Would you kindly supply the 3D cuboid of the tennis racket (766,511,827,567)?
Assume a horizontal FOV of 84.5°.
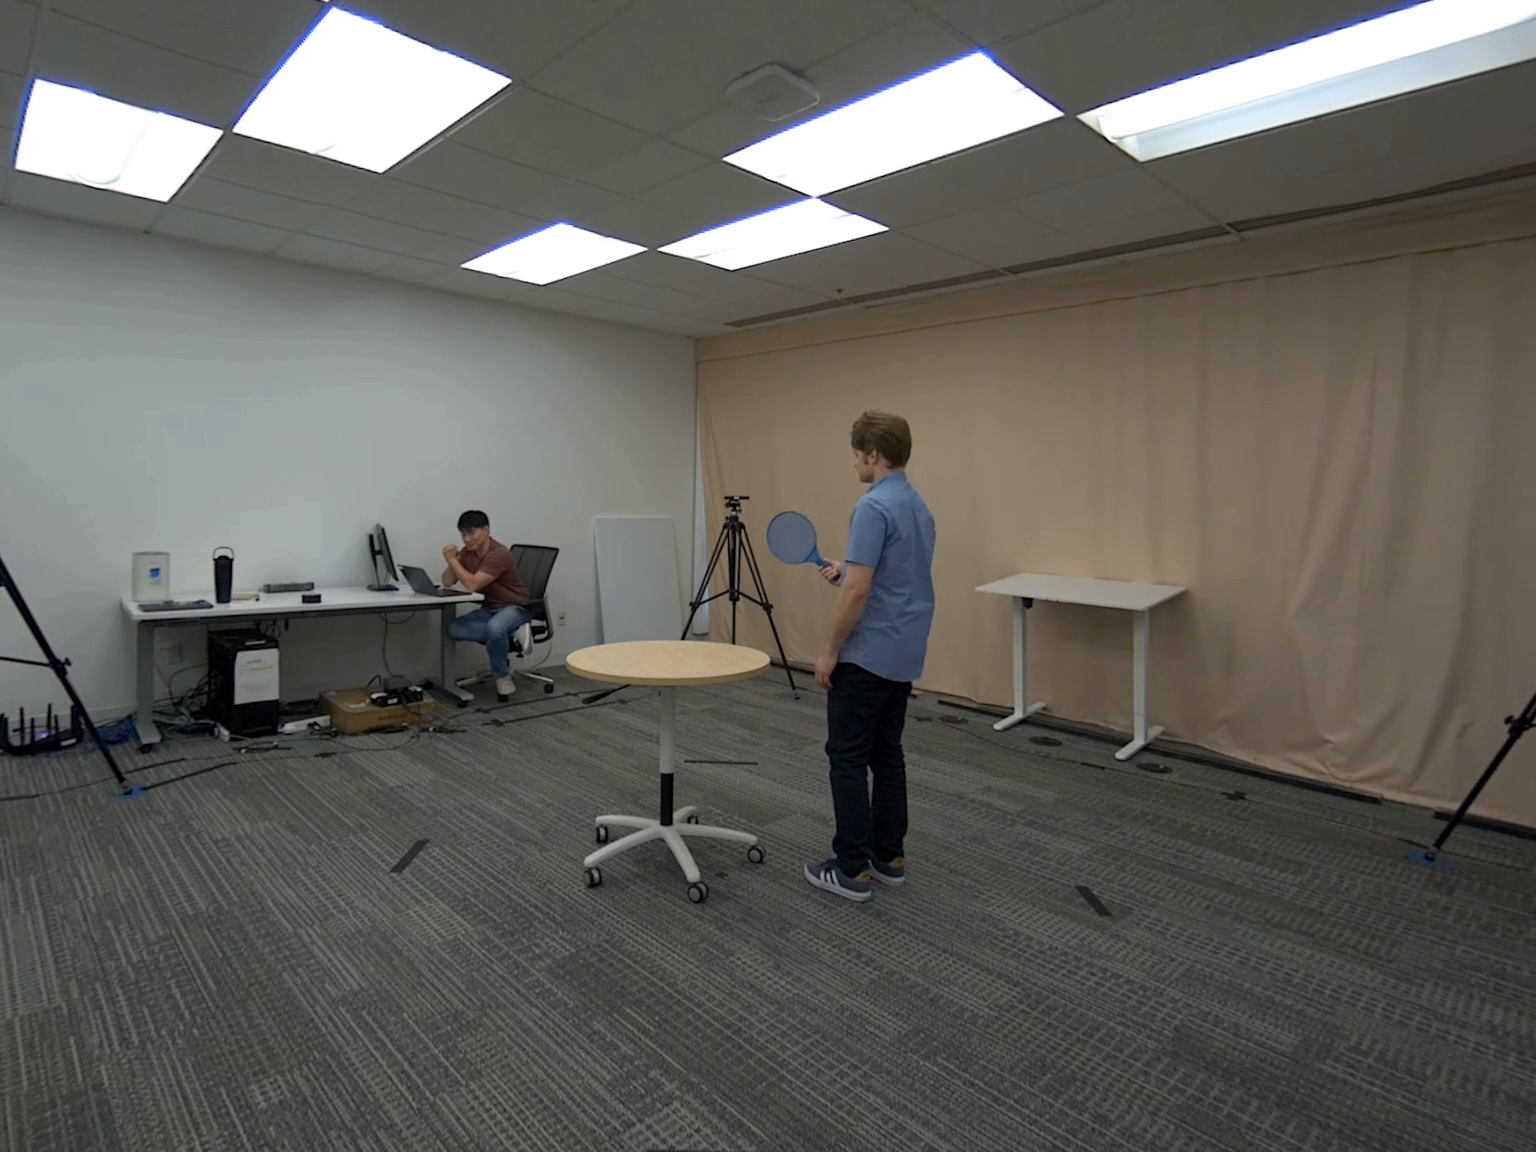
[{"bbox_3d":[0.141,-0.108,3.522,0.446,0.213,0.031,44,15,34],"label":"tennis racket"}]
